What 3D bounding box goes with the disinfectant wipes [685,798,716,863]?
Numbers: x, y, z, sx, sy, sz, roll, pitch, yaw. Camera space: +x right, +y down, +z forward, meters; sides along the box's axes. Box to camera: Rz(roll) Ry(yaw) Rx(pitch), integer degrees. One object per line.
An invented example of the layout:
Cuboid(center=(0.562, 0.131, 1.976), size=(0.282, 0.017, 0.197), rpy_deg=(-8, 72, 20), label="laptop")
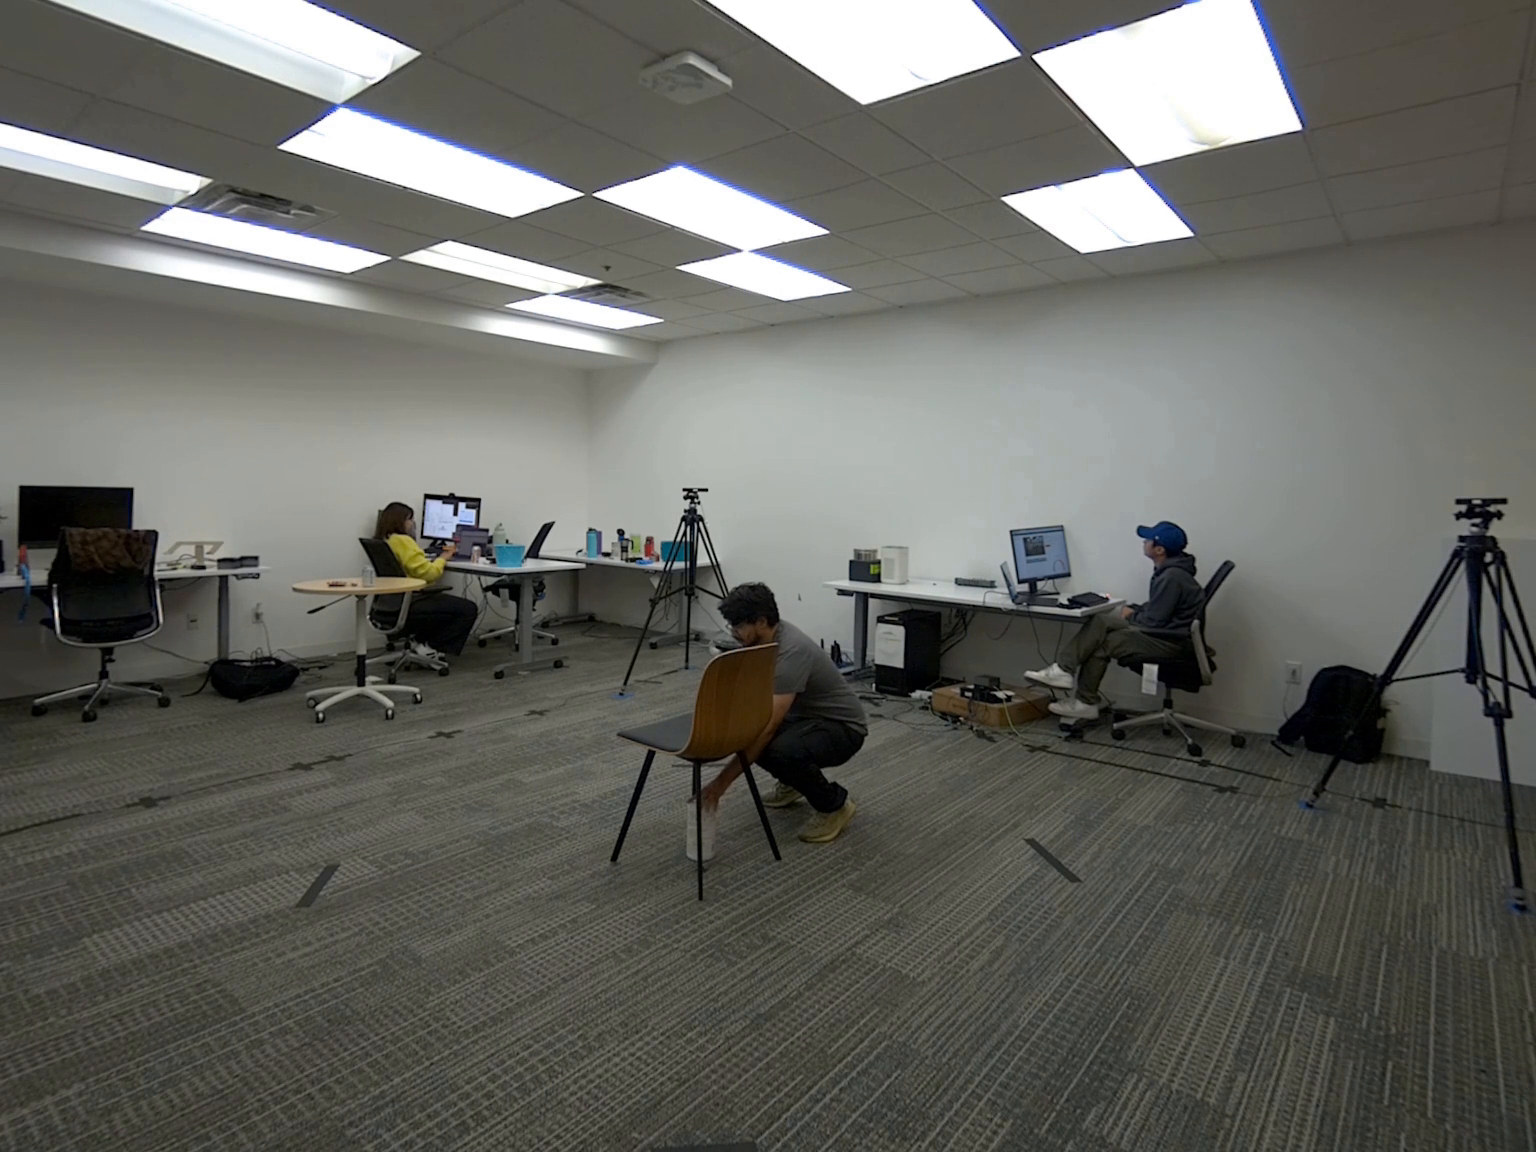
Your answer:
Cuboid(center=(-0.255, 0.962, 3.221), size=(0.117, 0.217, 0.118), rpy_deg=(2, 2, -2), label="disinfectant wipes")
